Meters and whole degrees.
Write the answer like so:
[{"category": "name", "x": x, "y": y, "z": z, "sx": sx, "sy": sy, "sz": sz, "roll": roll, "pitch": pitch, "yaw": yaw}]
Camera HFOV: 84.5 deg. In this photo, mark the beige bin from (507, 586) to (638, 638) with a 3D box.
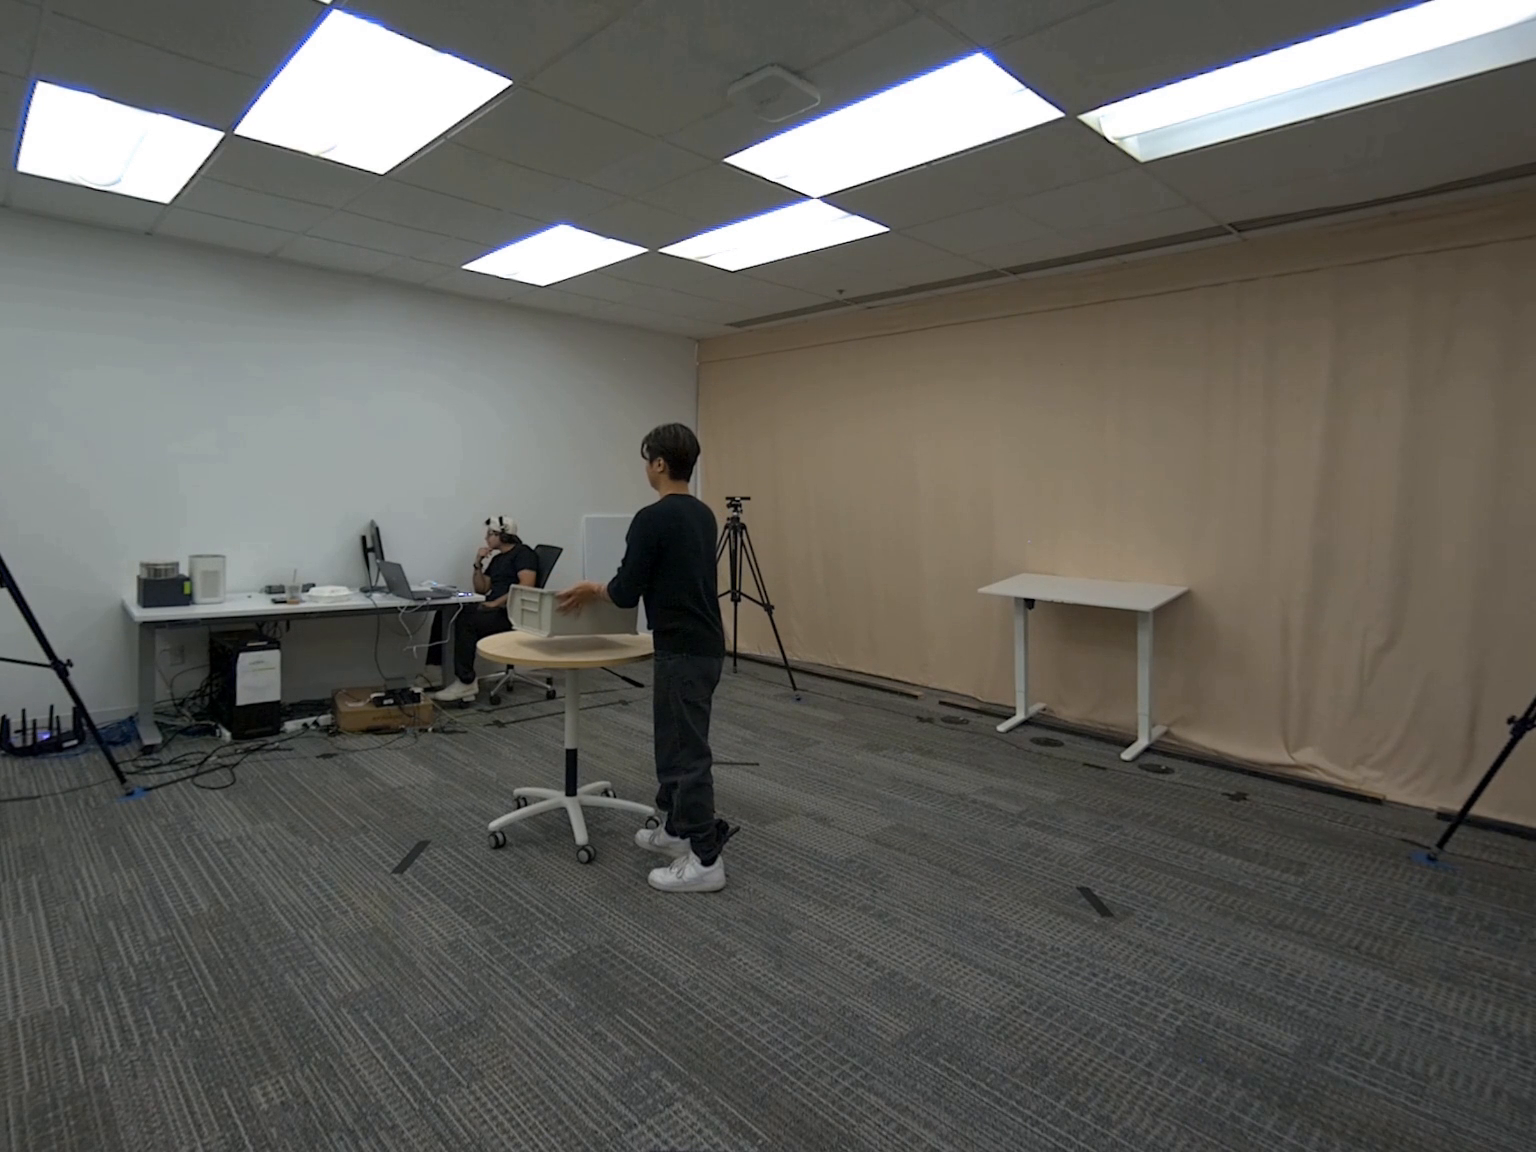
[{"category": "beige bin", "x": -0.794, "y": 0.132, "z": 3.423, "sx": 0.412, "sy": 0.189, "sz": 0.387, "roll": 2, "pitch": 4, "yaw": -39}]
